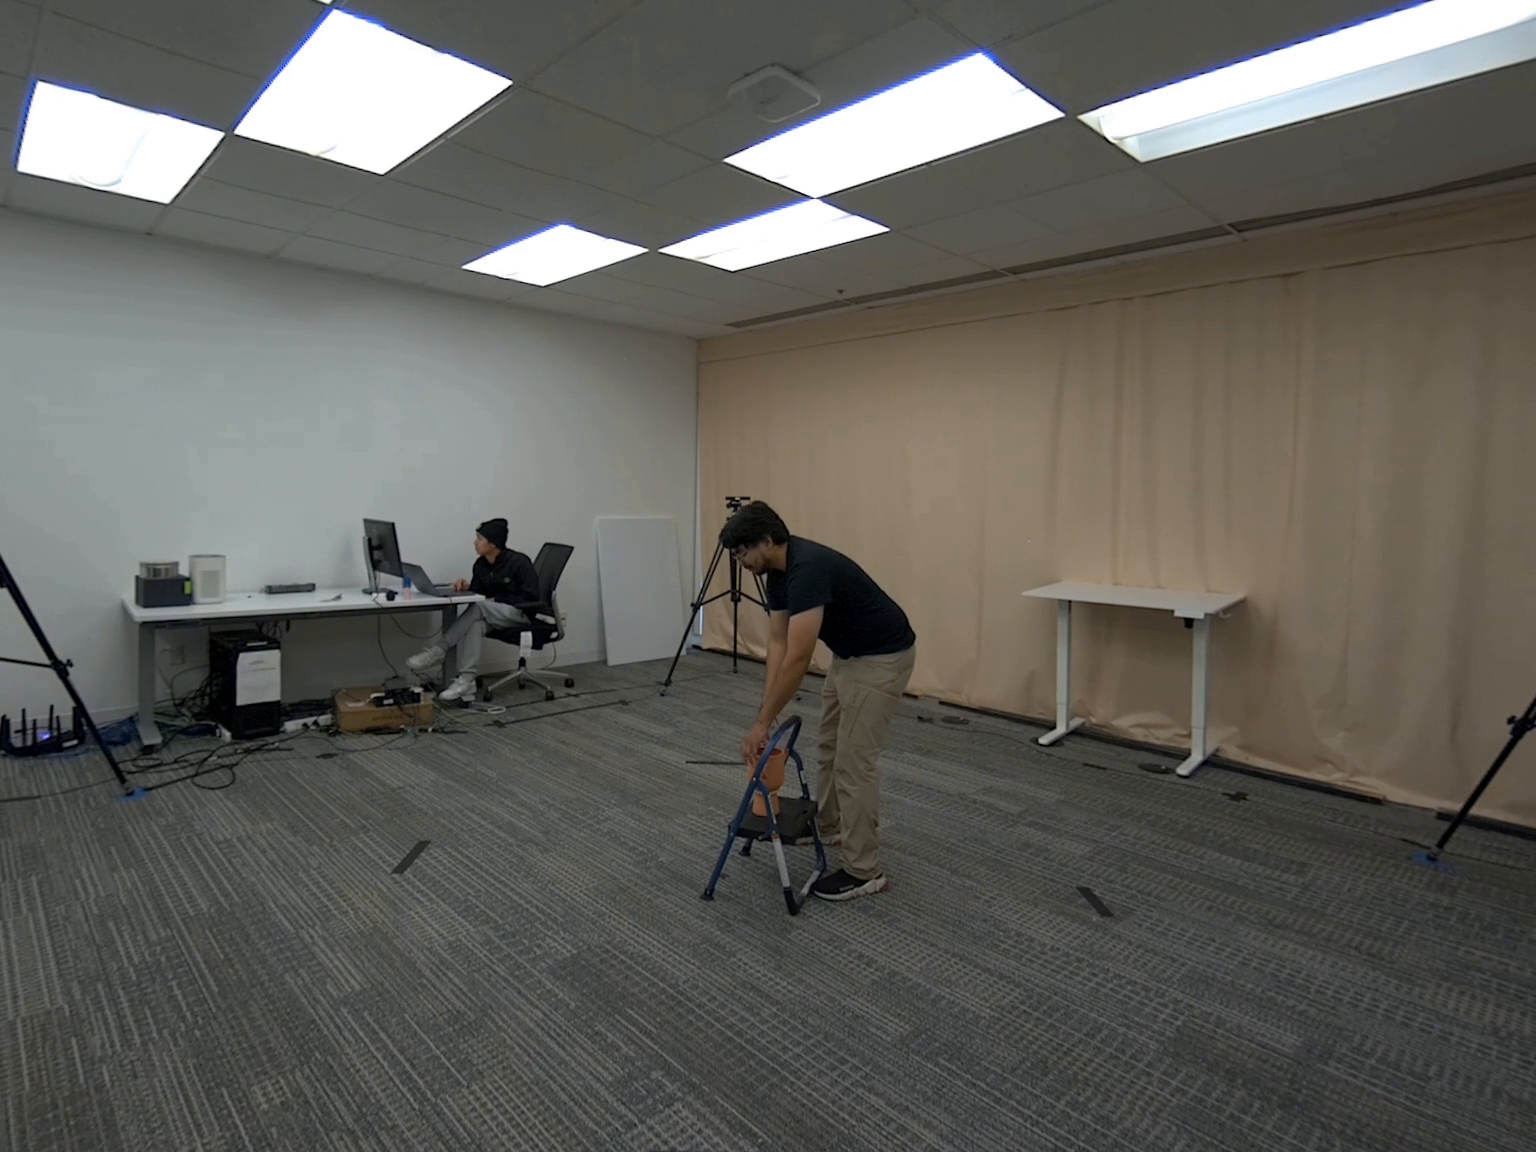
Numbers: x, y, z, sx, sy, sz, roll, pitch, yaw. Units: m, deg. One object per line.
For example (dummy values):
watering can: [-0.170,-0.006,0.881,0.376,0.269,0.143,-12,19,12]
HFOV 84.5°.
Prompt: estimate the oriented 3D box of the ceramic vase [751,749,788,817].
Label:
ceramic vase: [-0.009,0.741,3.045,0.138,0.219,0.155,3,3,44]
